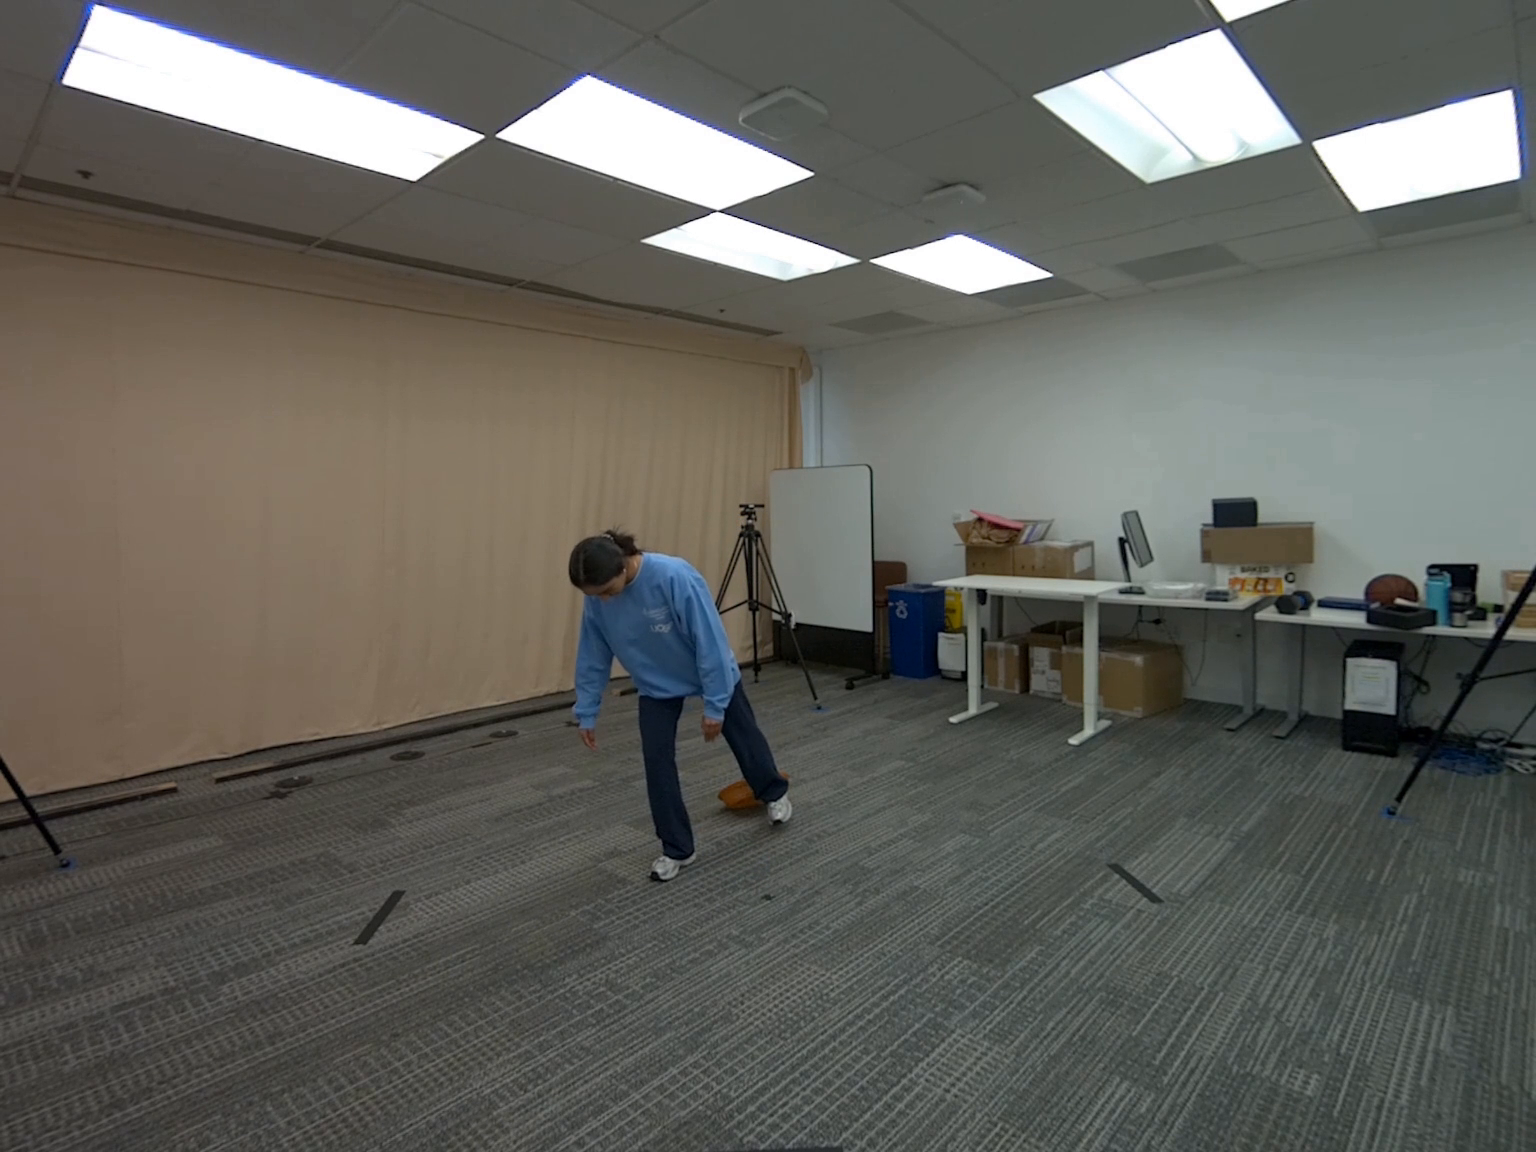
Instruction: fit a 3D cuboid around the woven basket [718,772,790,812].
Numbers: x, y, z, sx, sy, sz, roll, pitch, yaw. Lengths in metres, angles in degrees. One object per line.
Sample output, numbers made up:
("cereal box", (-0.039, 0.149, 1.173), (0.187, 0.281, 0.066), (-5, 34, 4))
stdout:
("woven basket", (-0.063, 0.991, 3.847), (0.344, 0.075, 0.251), (-6, -31, -19))
